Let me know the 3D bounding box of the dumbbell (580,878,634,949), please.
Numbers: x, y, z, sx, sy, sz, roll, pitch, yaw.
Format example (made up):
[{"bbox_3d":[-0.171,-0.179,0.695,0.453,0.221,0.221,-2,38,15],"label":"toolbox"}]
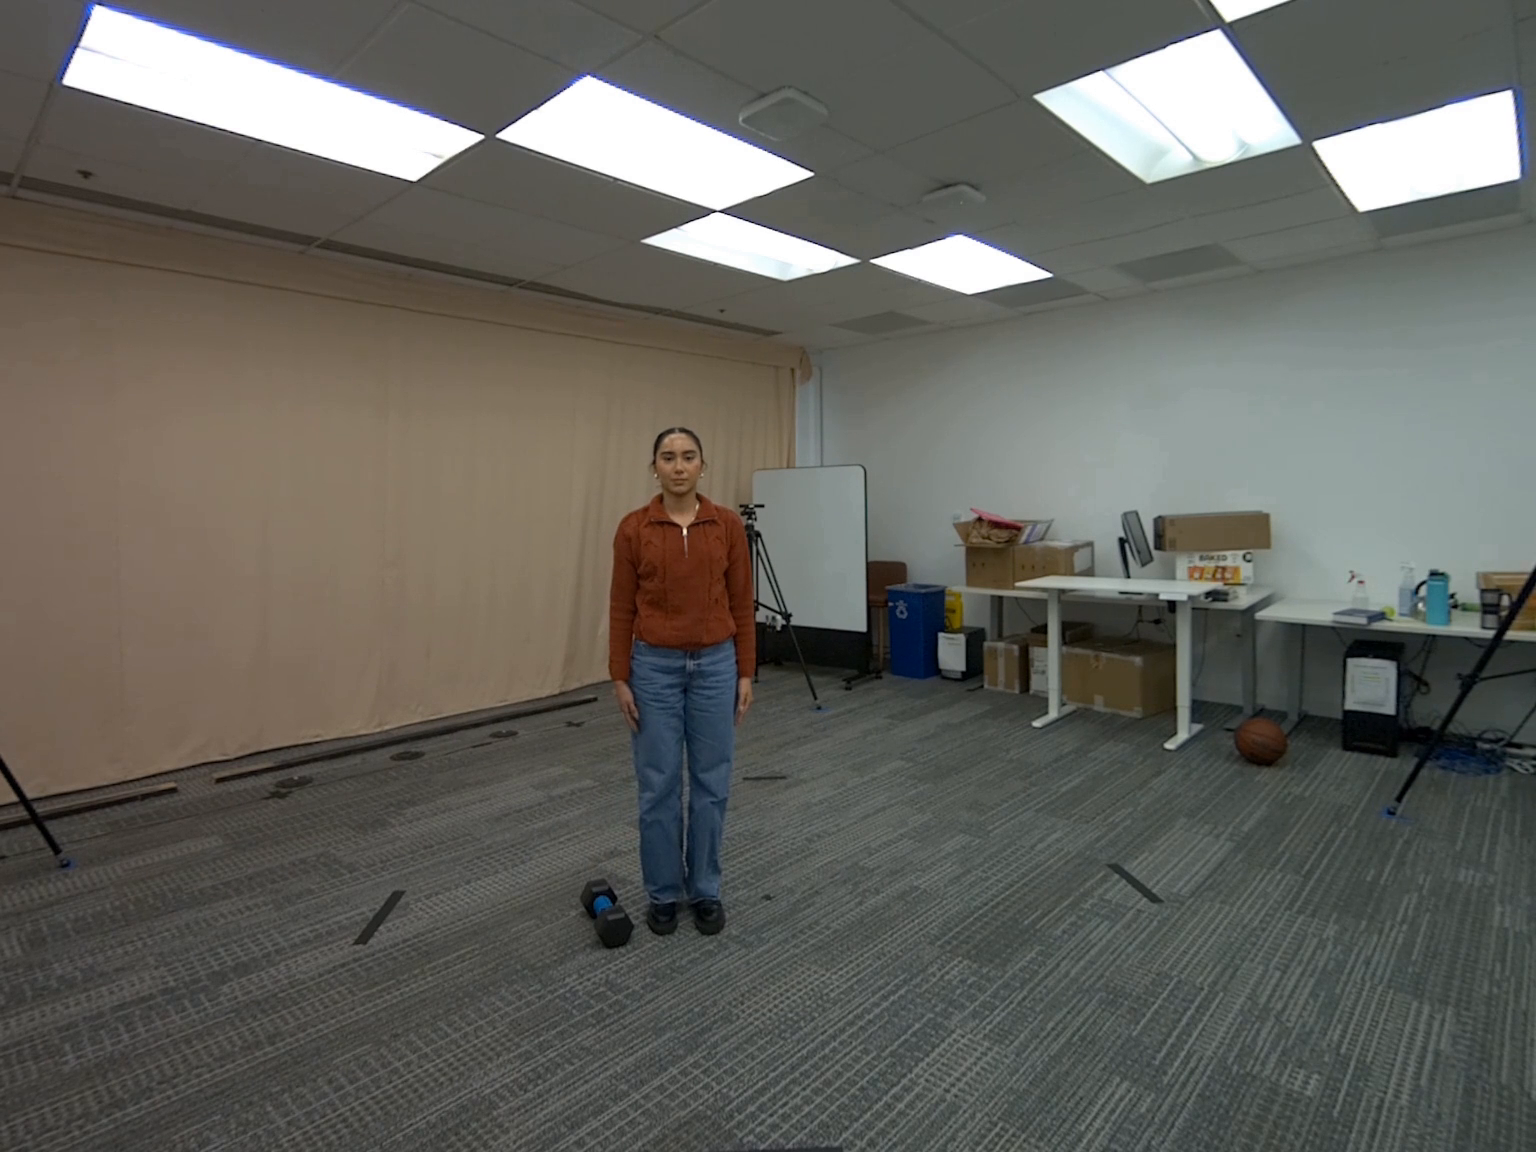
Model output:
[{"bbox_3d":[-0.542,1.119,2.786,0.106,0.123,0.301,30,-7,-22],"label":"dumbbell"}]
